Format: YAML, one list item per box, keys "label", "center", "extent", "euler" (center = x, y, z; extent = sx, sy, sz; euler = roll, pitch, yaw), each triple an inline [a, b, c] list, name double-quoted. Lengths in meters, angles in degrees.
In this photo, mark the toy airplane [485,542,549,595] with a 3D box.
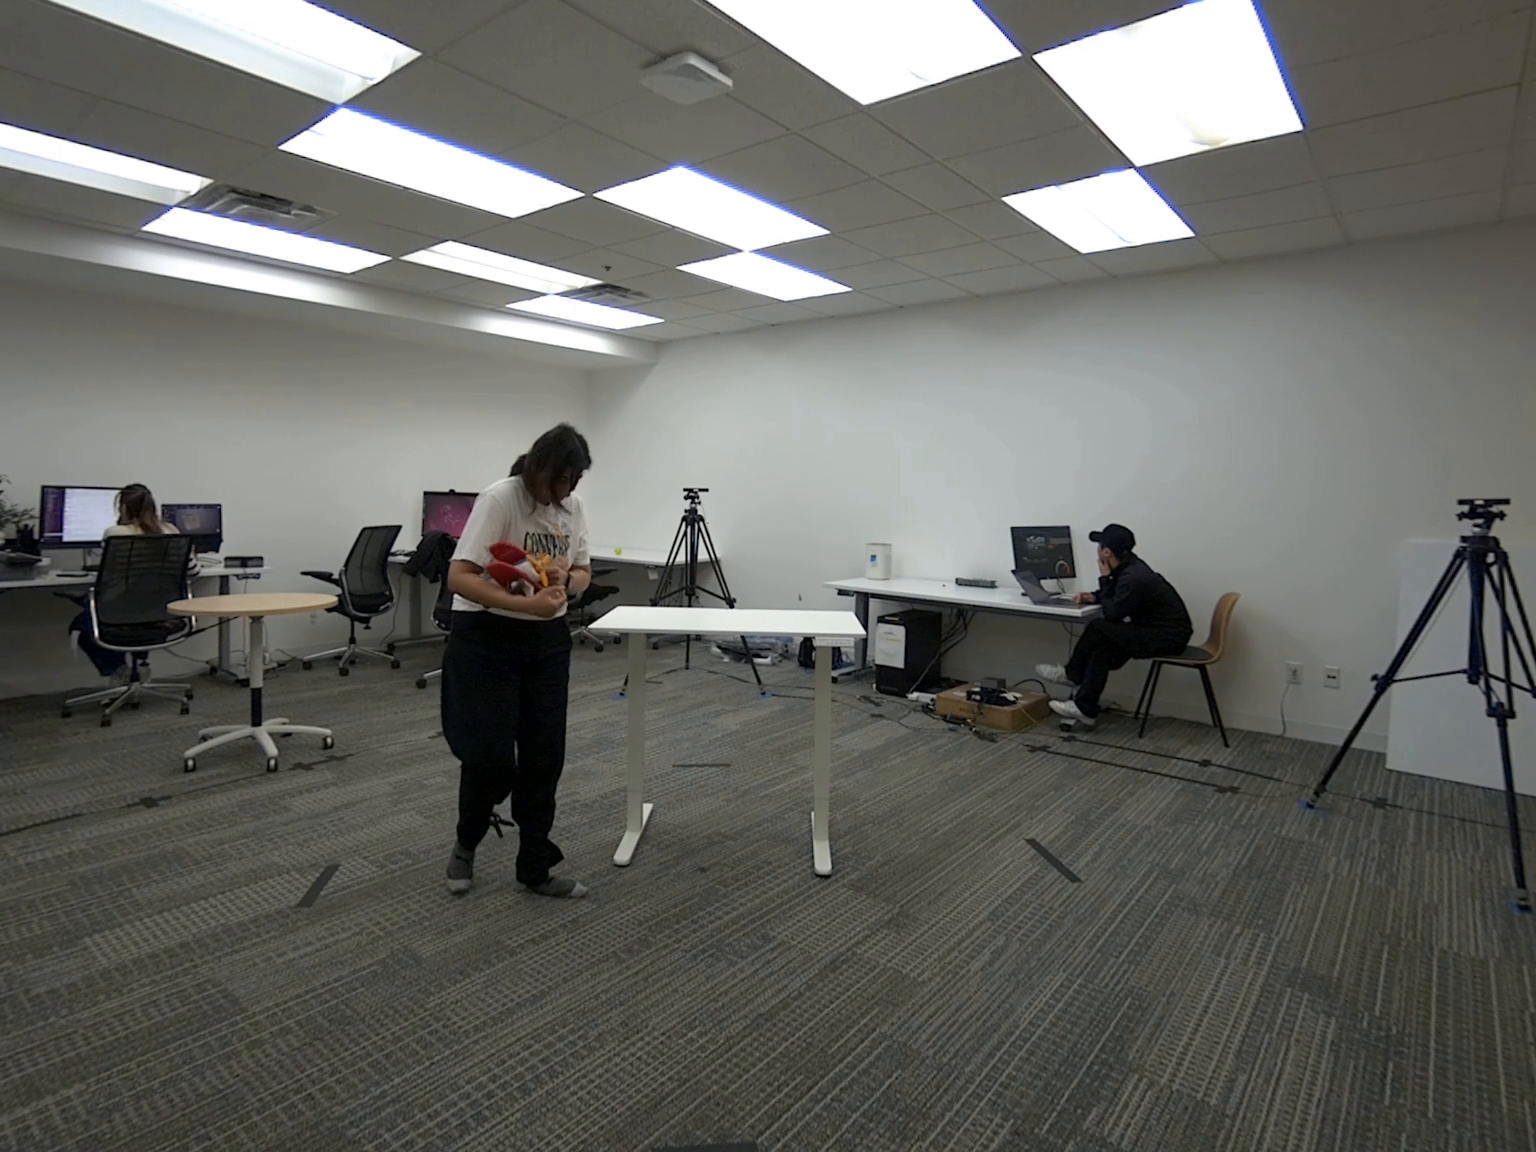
- label: "toy airplane"
  center: [-0.840, 0.010, 2.694]
  extent: [0.262, 0.159, 0.244]
  euler: [7, -29, 9]
